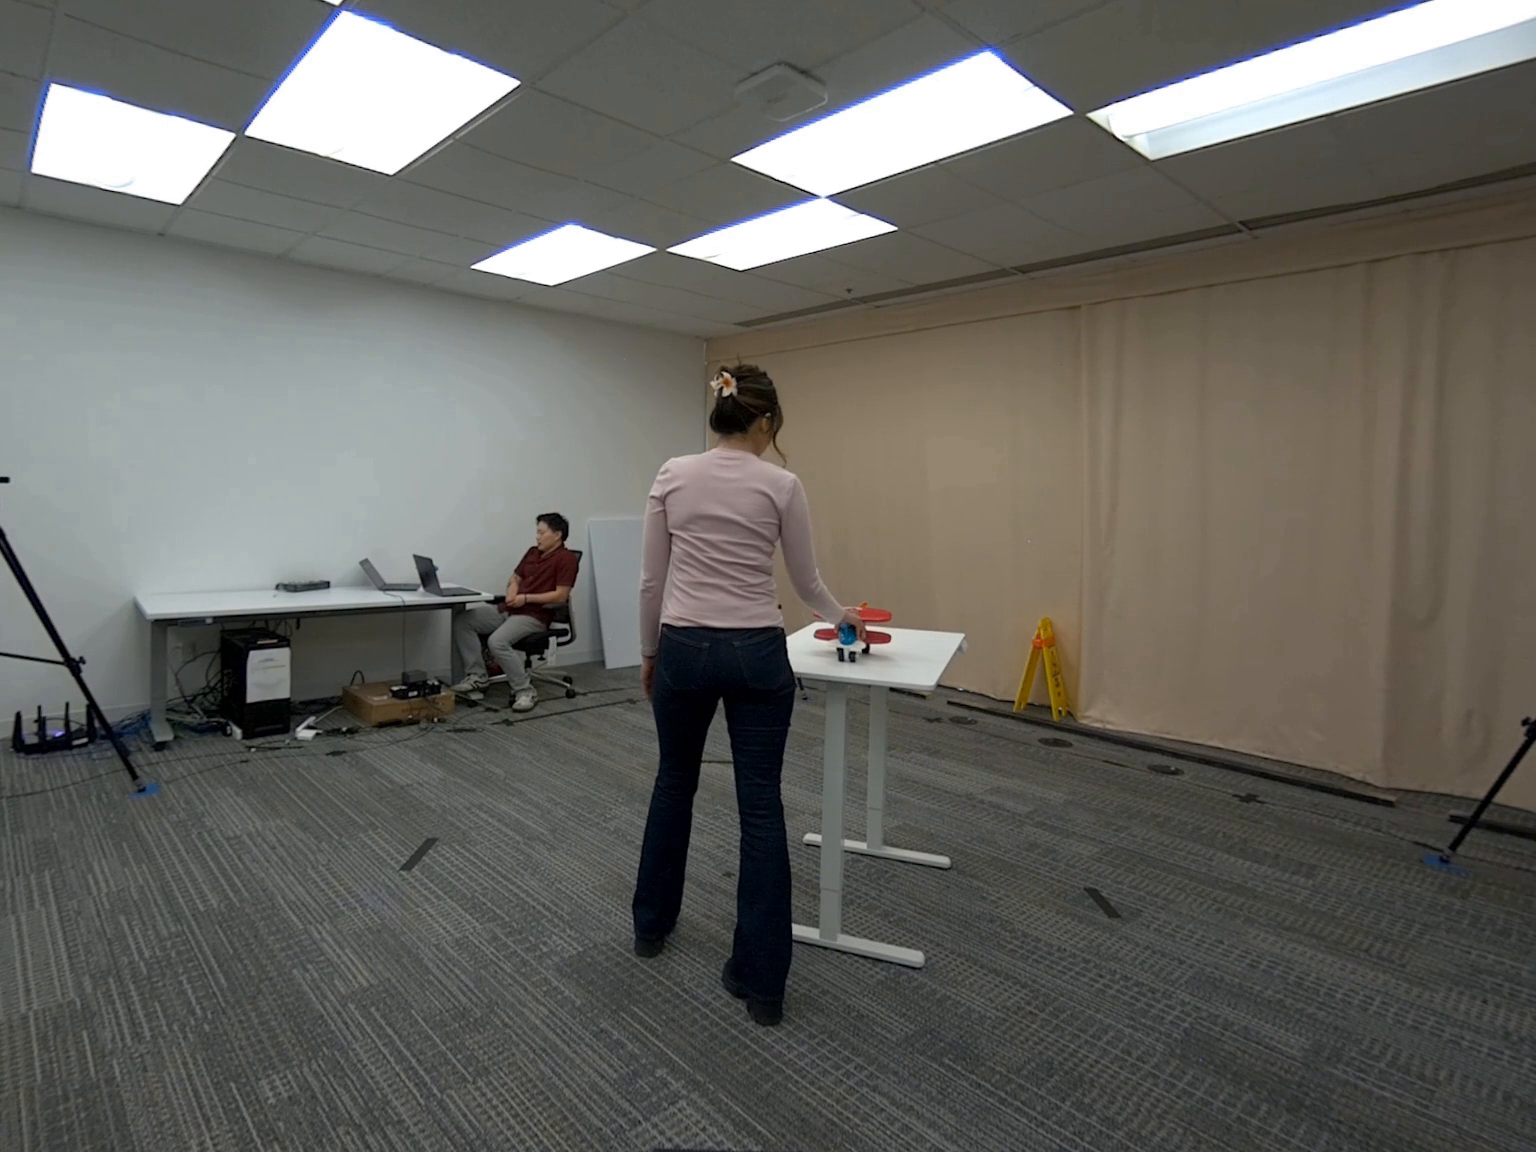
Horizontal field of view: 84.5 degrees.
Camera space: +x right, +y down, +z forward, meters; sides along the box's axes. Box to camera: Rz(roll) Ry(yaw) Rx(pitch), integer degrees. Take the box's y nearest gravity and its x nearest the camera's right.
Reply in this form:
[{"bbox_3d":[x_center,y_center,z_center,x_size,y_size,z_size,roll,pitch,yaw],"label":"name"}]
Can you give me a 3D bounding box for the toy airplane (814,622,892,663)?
[{"bbox_3d":[0.285,0.192,2.747,0.248,0.156,0.263,-1,5,-15],"label":"toy airplane"}]
